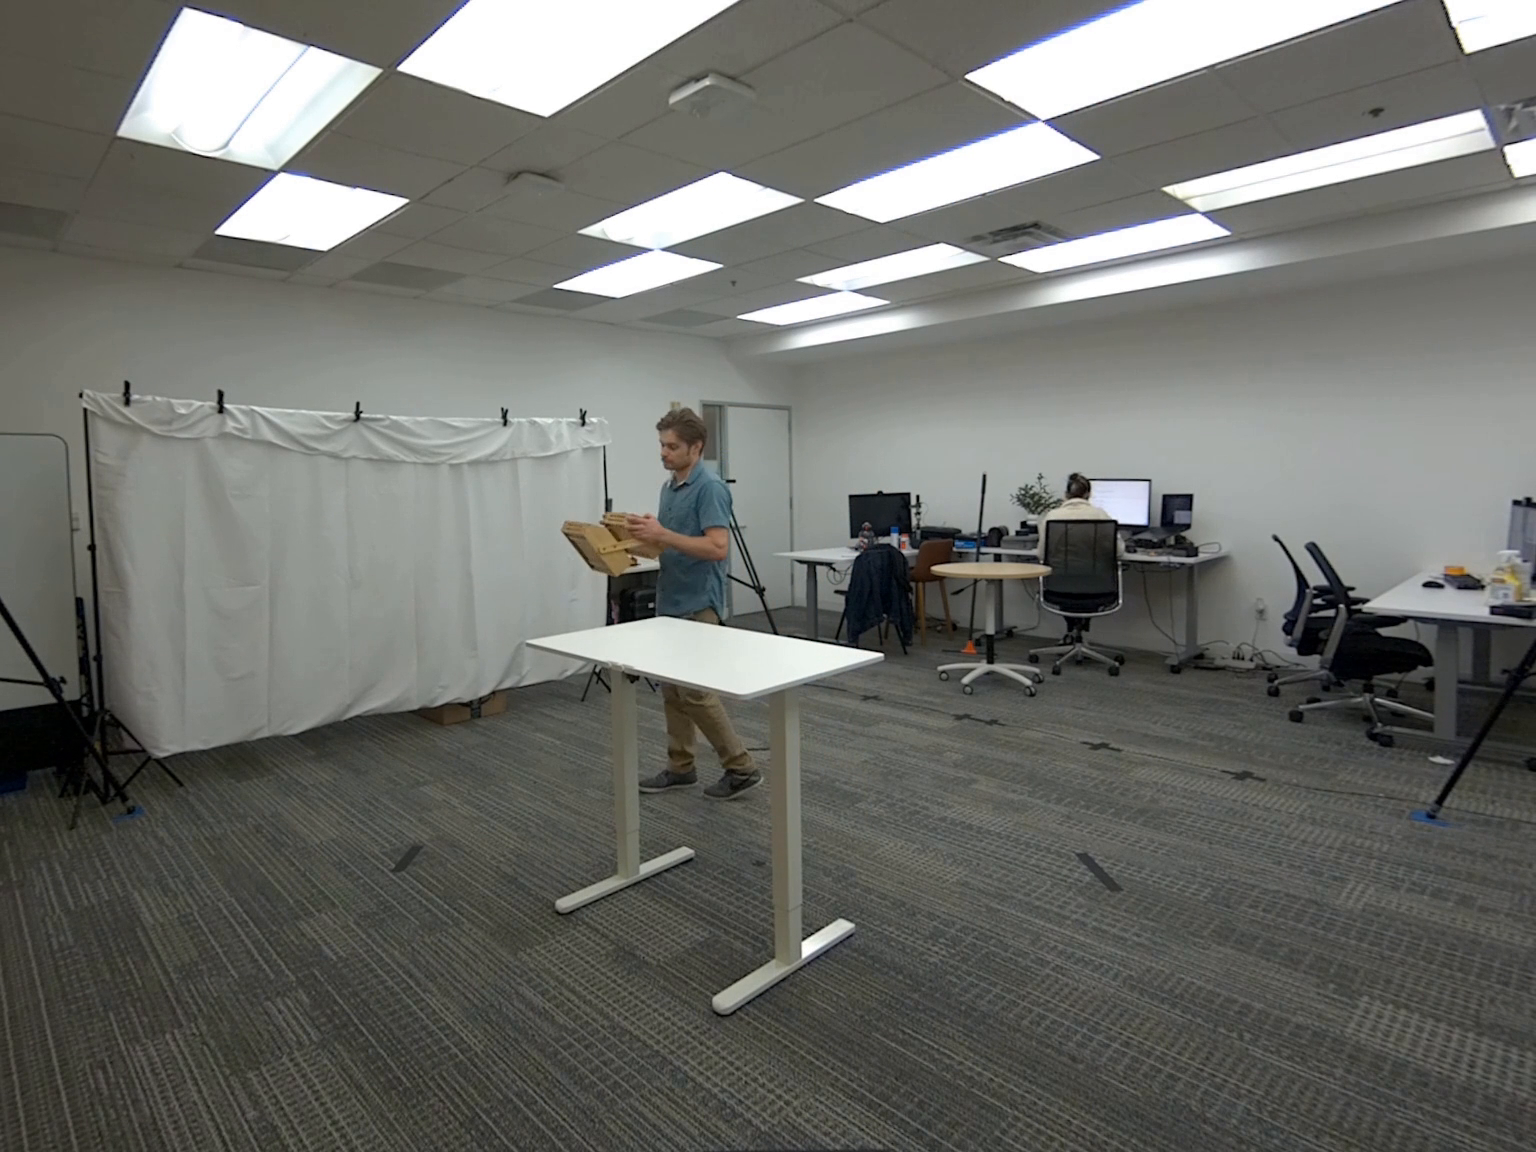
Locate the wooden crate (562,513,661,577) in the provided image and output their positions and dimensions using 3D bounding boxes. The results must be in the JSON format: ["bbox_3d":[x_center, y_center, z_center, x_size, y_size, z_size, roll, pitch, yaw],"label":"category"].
[{"bbox_3d":[-0.656,-0.169,3.659,0.273,0.294,0.334,-43,24,-19],"label":"wooden crate"}]
